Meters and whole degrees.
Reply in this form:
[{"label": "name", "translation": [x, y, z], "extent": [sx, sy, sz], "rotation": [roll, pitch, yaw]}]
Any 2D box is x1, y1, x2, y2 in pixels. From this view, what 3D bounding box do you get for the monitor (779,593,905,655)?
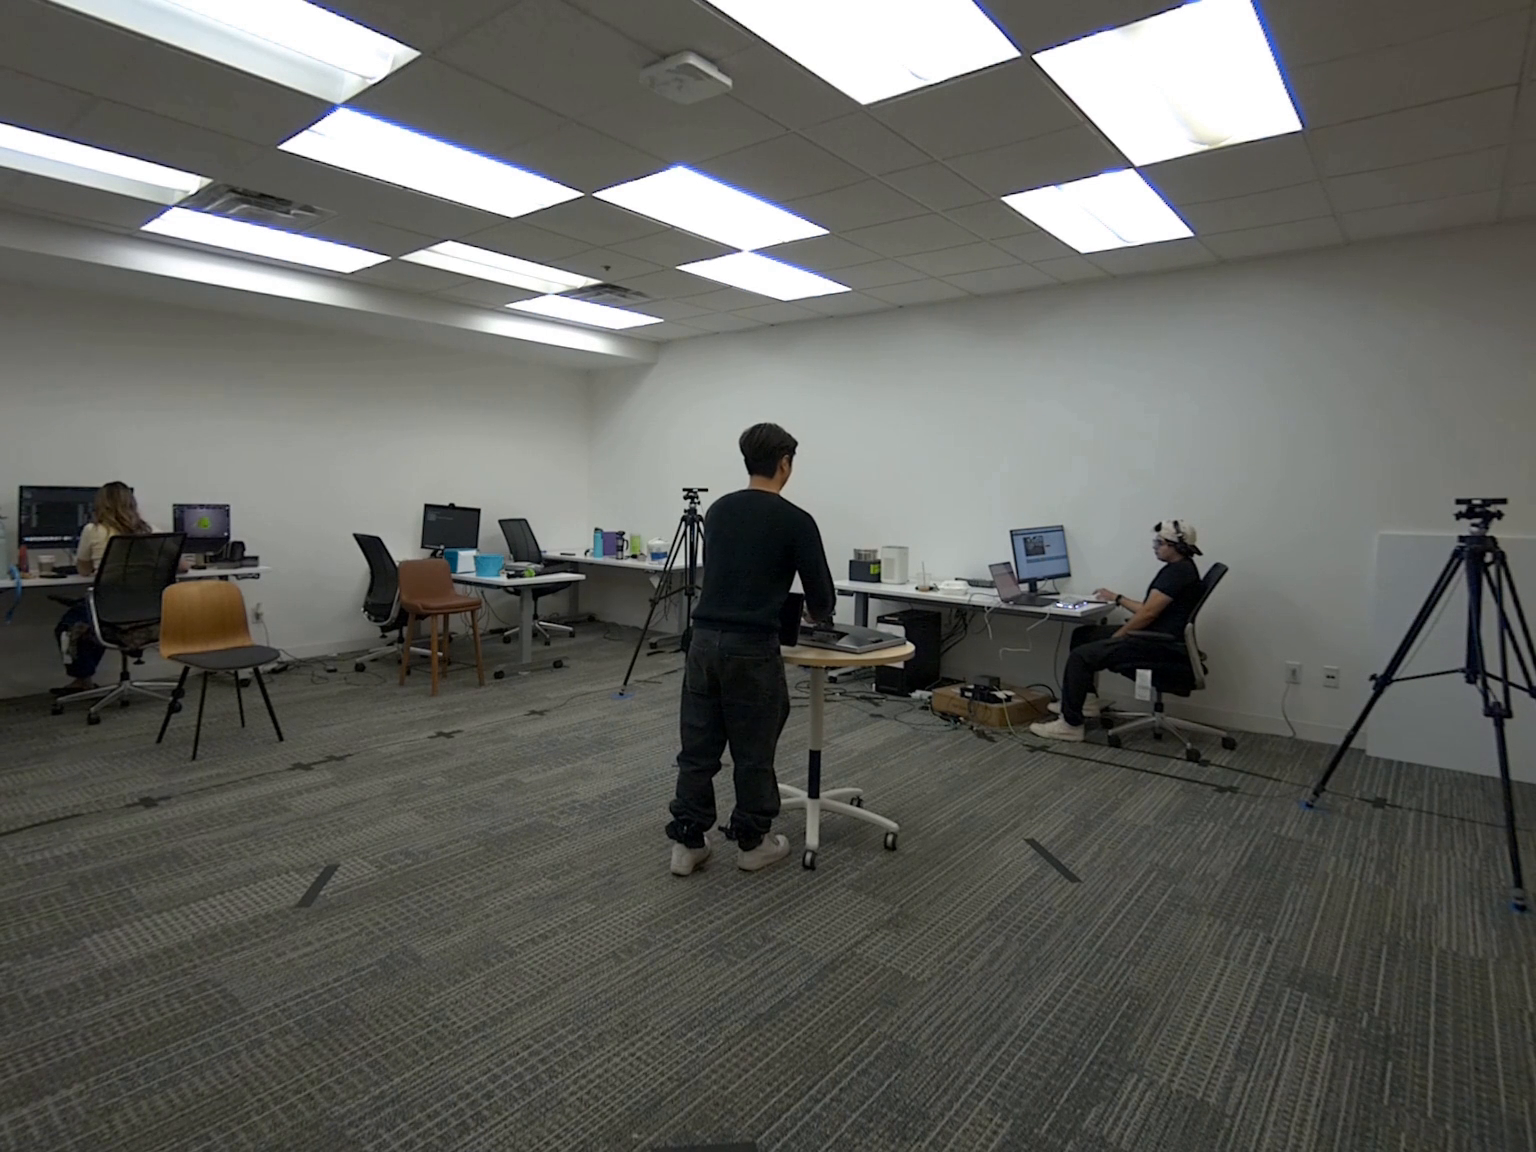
[{"label": "monitor", "translation": [0.177, 0.196, 3.431], "extent": [0.558, 0.188, 0.503], "rotation": [8, -5, 40]}]
